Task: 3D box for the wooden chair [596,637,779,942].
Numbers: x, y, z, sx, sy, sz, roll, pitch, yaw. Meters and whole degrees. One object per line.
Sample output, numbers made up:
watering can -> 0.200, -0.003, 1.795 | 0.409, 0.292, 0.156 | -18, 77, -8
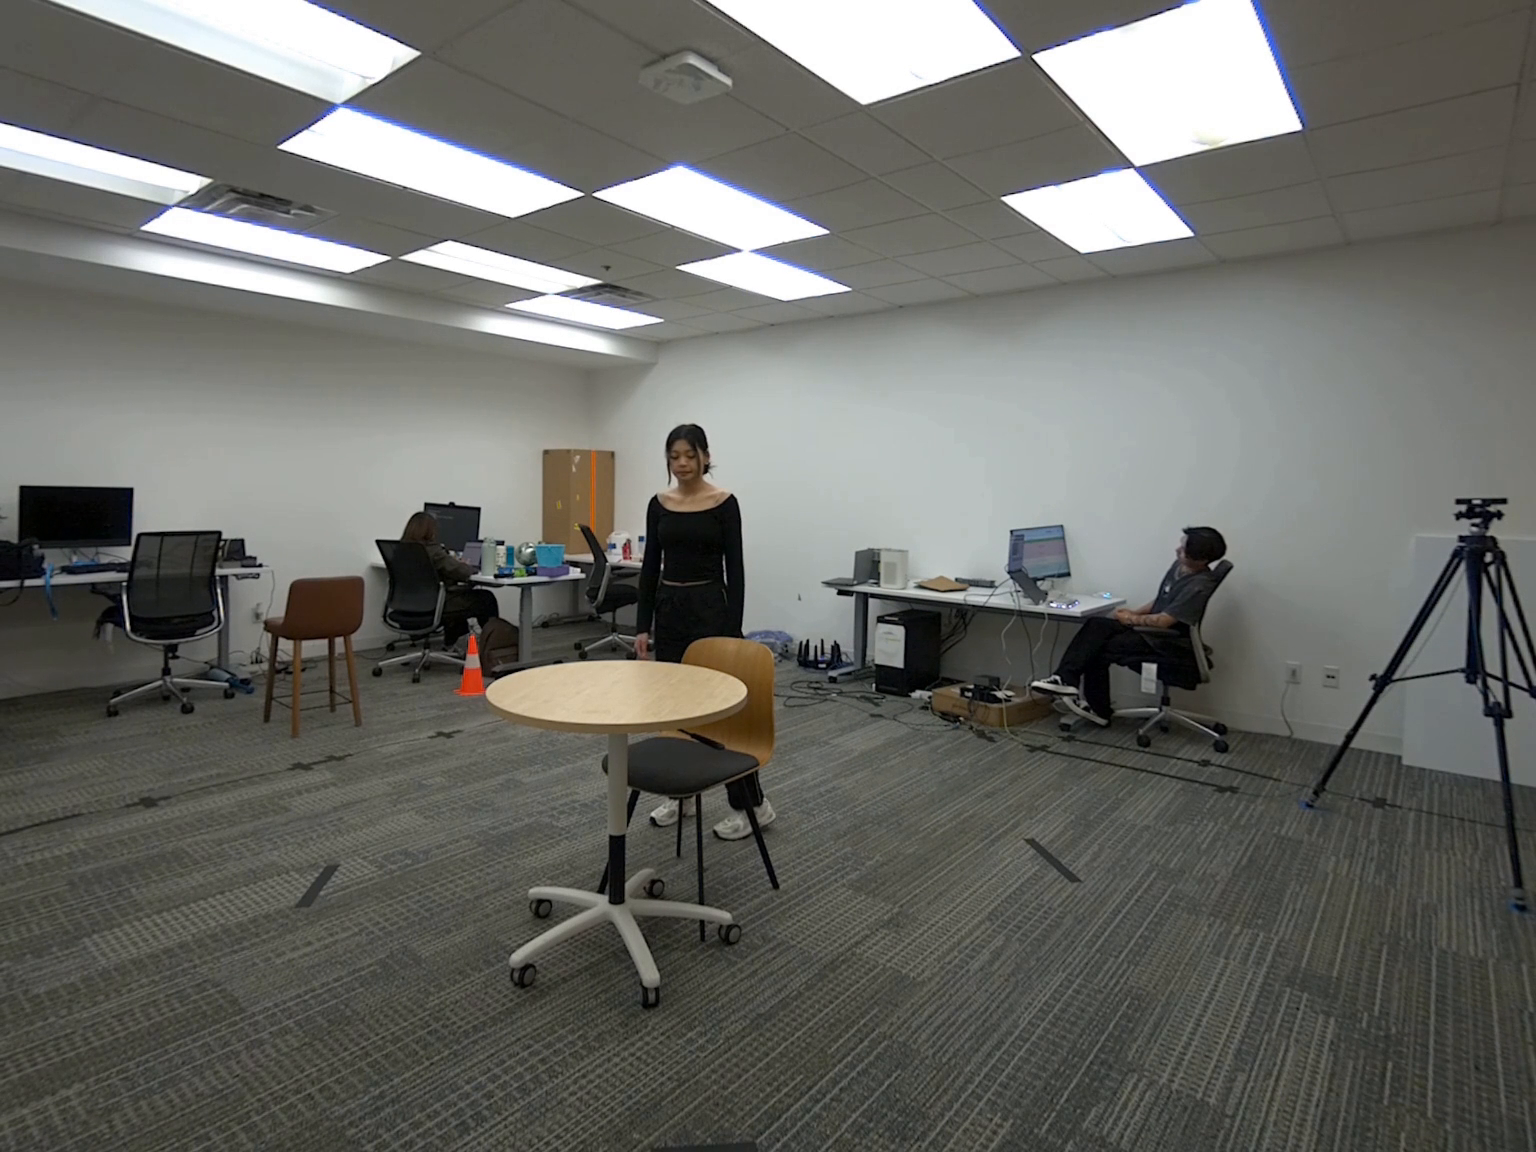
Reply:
wooden chair -> -0.272, 0.661, 2.881 | 0.493, 0.878, 0.506 | 4, 0, 34
